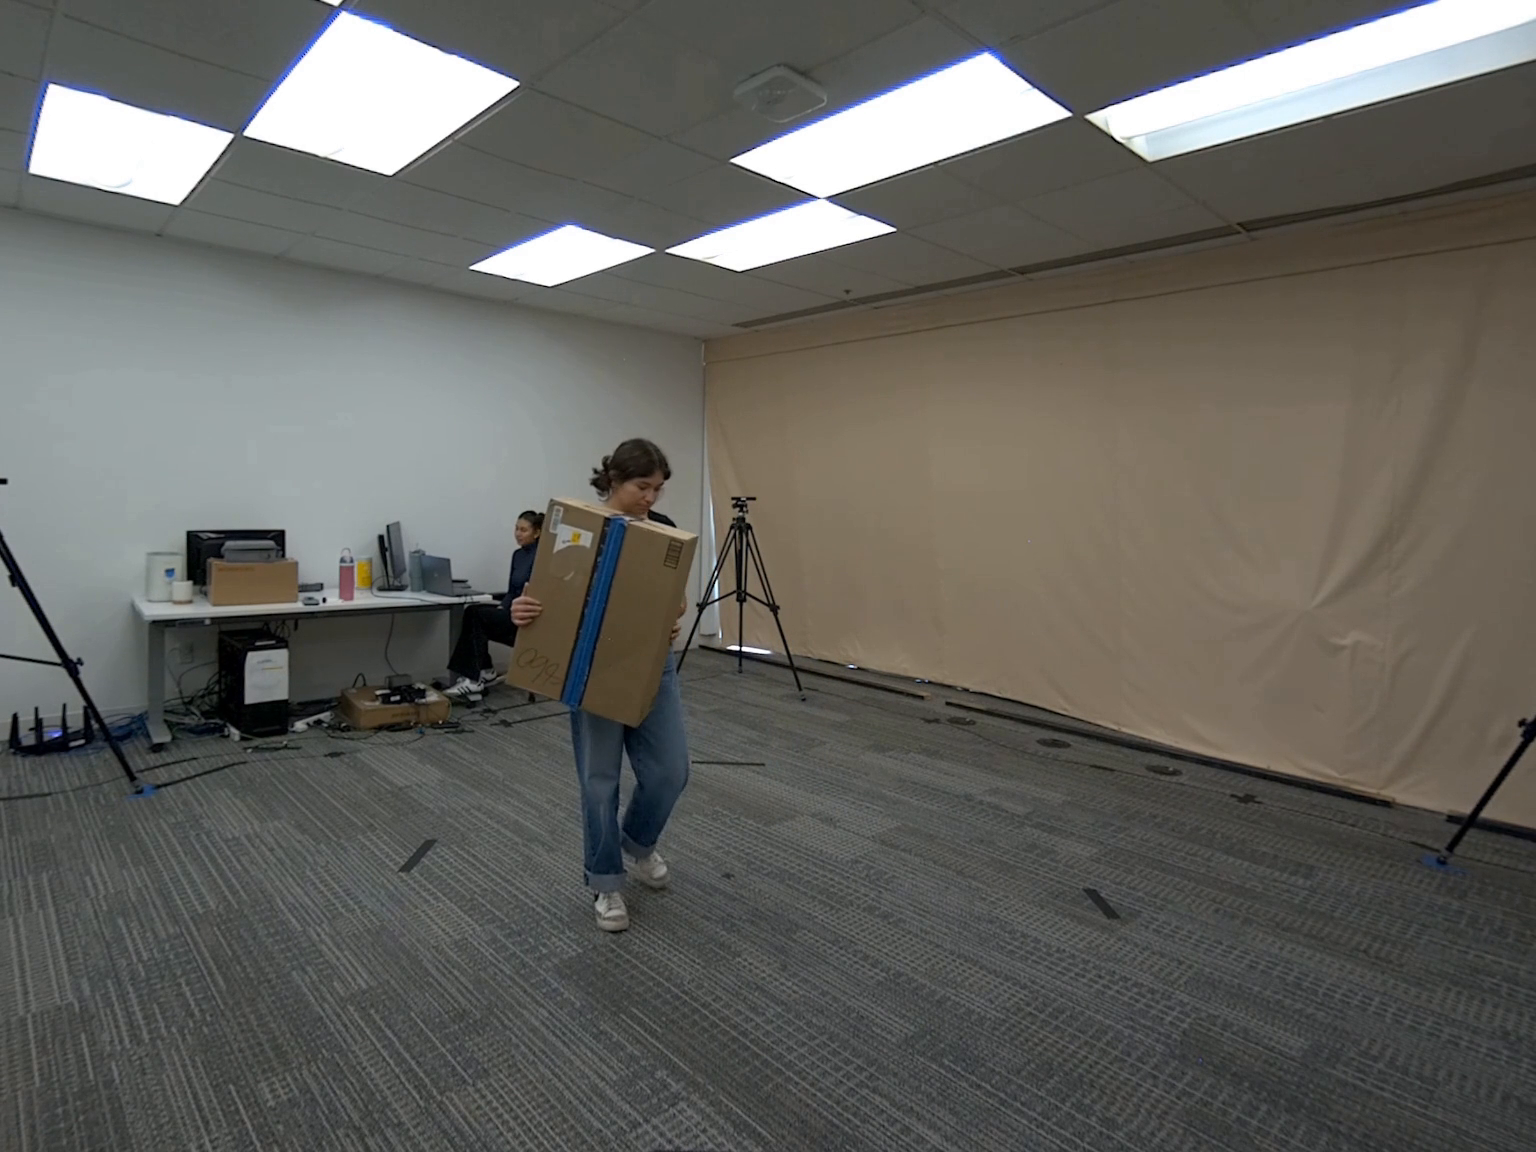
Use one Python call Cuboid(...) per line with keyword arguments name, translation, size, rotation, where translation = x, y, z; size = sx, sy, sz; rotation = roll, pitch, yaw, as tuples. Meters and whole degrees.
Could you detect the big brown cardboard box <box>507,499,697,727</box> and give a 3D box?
Cuboid(name="big brown cardboard box", translation=(-0.495, 0.092, 2.508), size=(0.421, 0.586, 0.232), rotation=(16, 8, 7))
